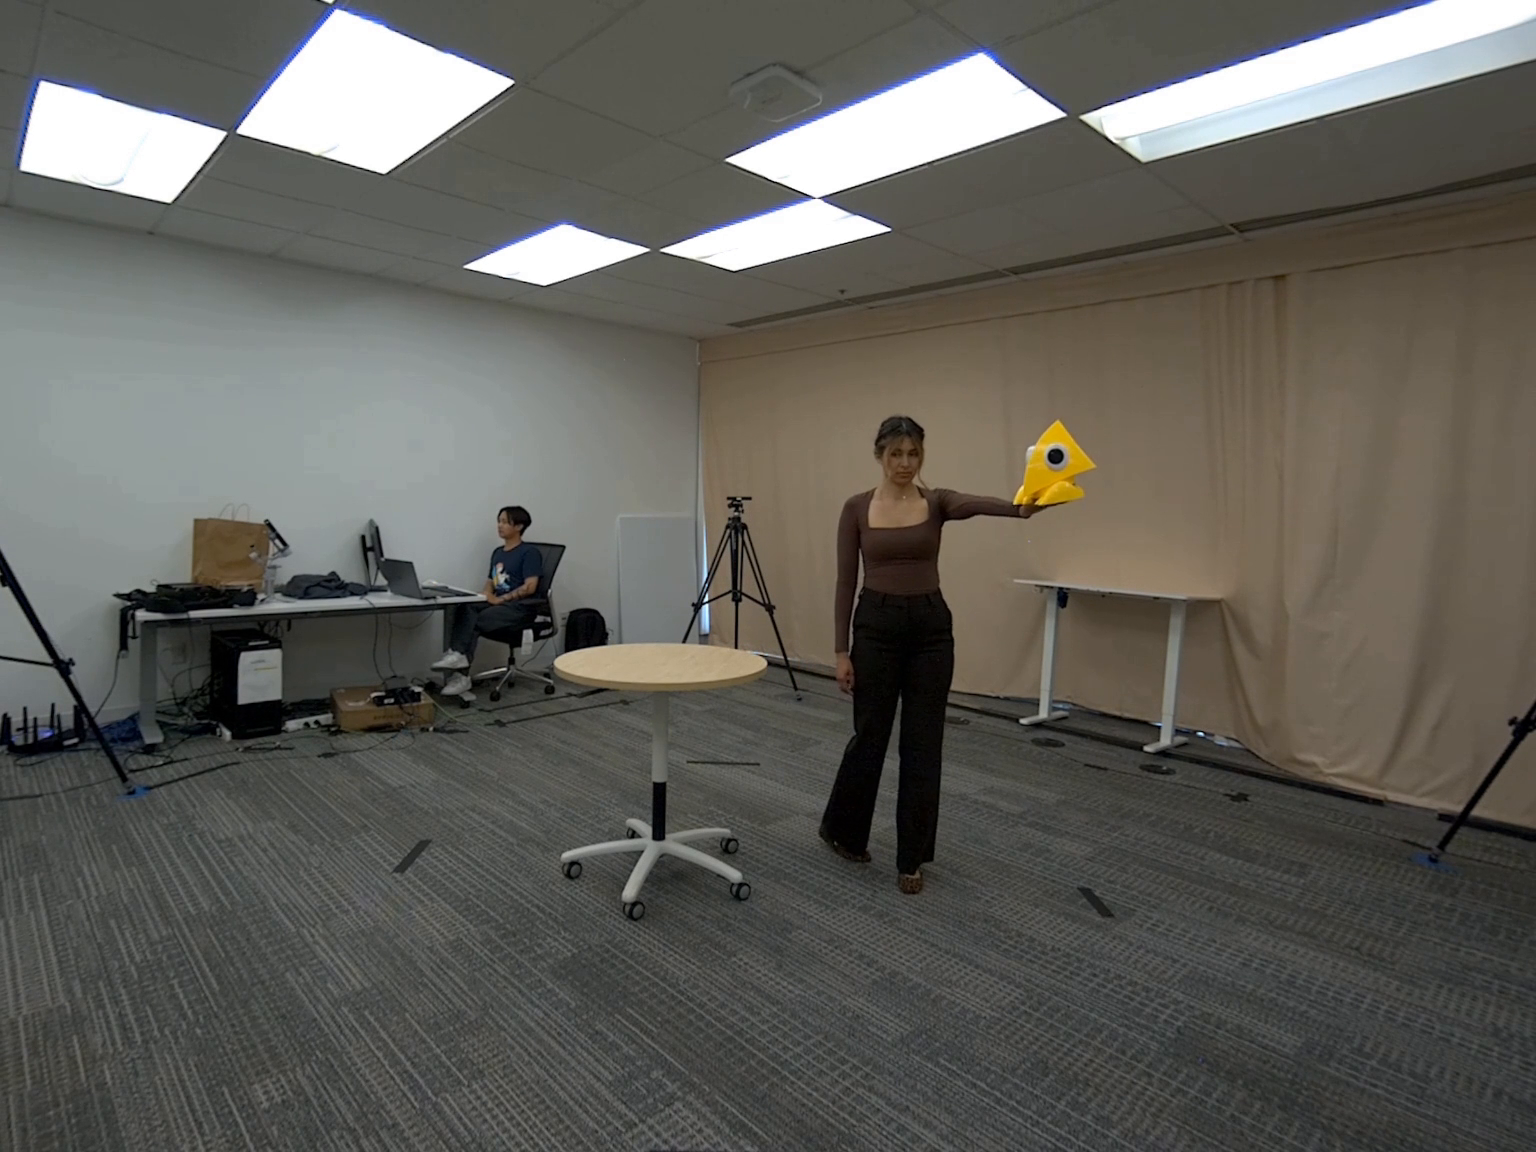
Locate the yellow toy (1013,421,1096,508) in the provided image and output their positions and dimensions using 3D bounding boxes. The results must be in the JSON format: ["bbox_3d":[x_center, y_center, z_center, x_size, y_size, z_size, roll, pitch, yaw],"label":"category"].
[{"bbox_3d":[0.831,-0.340,2.529,0.191,0.229,0.208,-12,7,-14],"label":"yellow toy"}]
